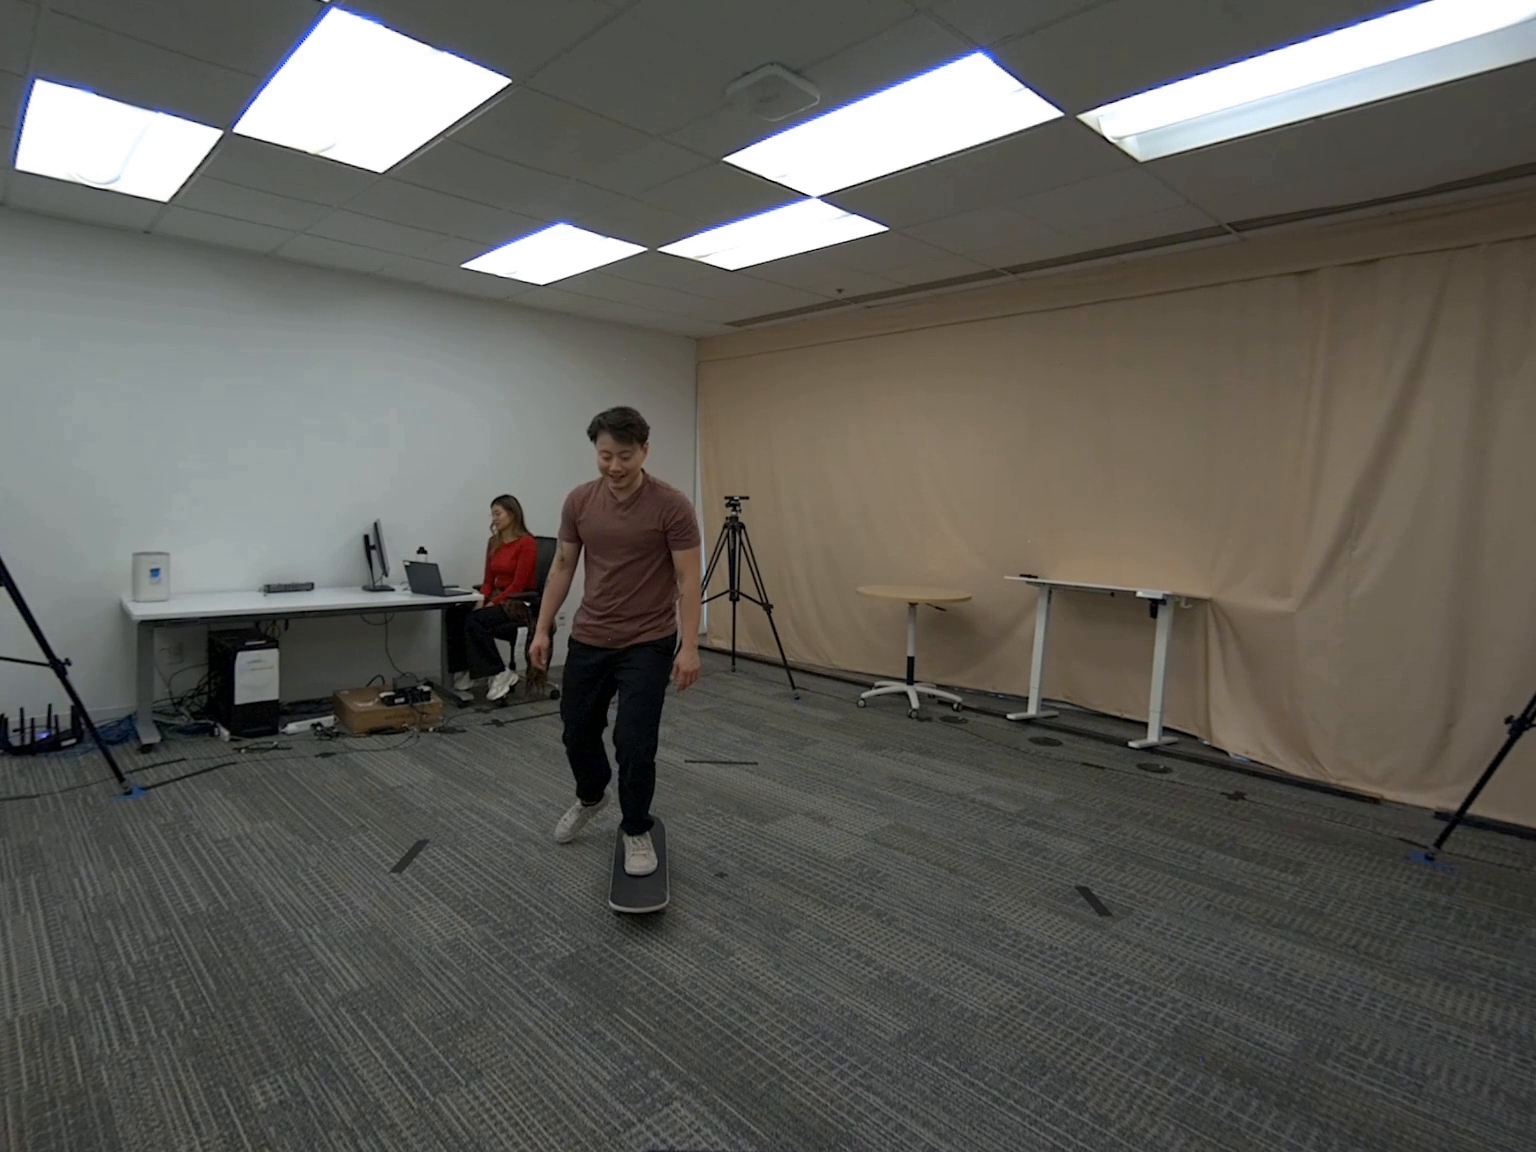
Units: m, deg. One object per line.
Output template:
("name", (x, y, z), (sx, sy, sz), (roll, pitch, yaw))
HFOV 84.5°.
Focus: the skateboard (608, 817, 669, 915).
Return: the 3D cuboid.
("skateboard", (-0.464, 1.050, 3.005), (0.192, 0.110, 0.792), (0, 6, -7))
